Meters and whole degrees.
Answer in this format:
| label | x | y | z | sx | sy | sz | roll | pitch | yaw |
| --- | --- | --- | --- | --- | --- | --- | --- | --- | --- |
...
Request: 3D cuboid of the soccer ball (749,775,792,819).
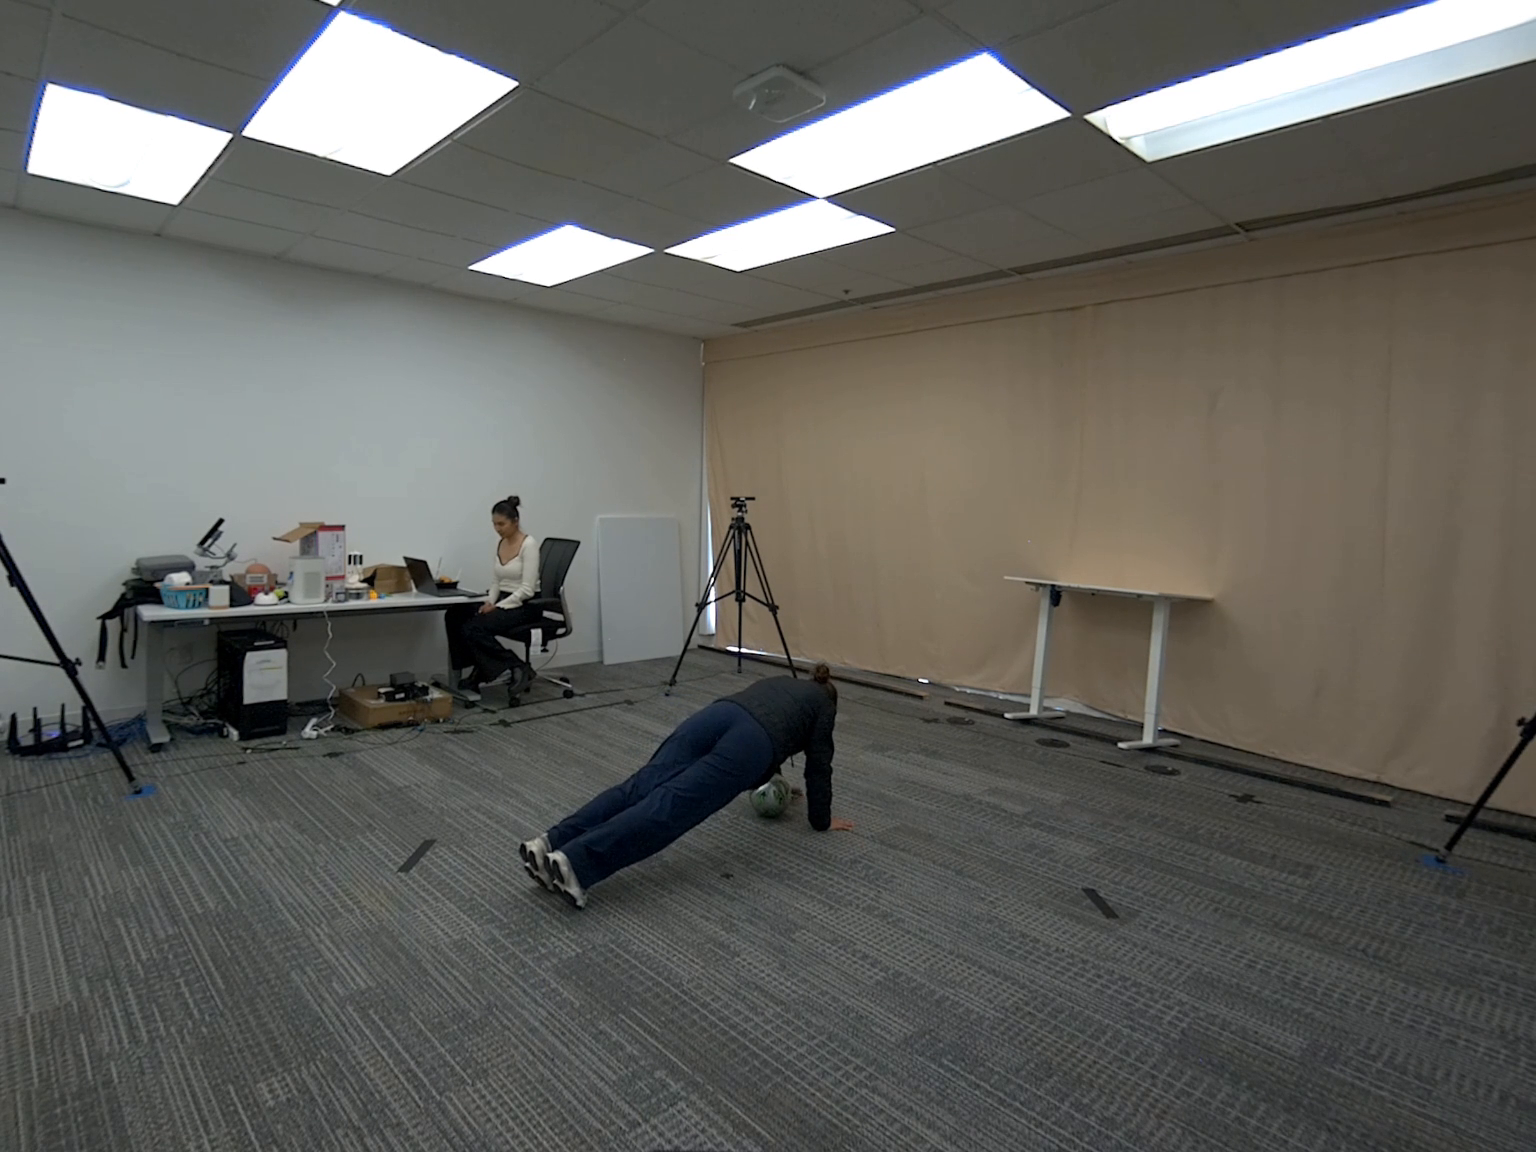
| label | x | y | z | sx | sy | sz | roll | pitch | yaw |
| --- | --- | --- | --- | --- | --- | --- | --- | --- | --- |
| soccer ball | -0.007 | 0.971 | 3.713 | 0.187 | 0.187 | 0.188 | 1 | 4 | -1 |
